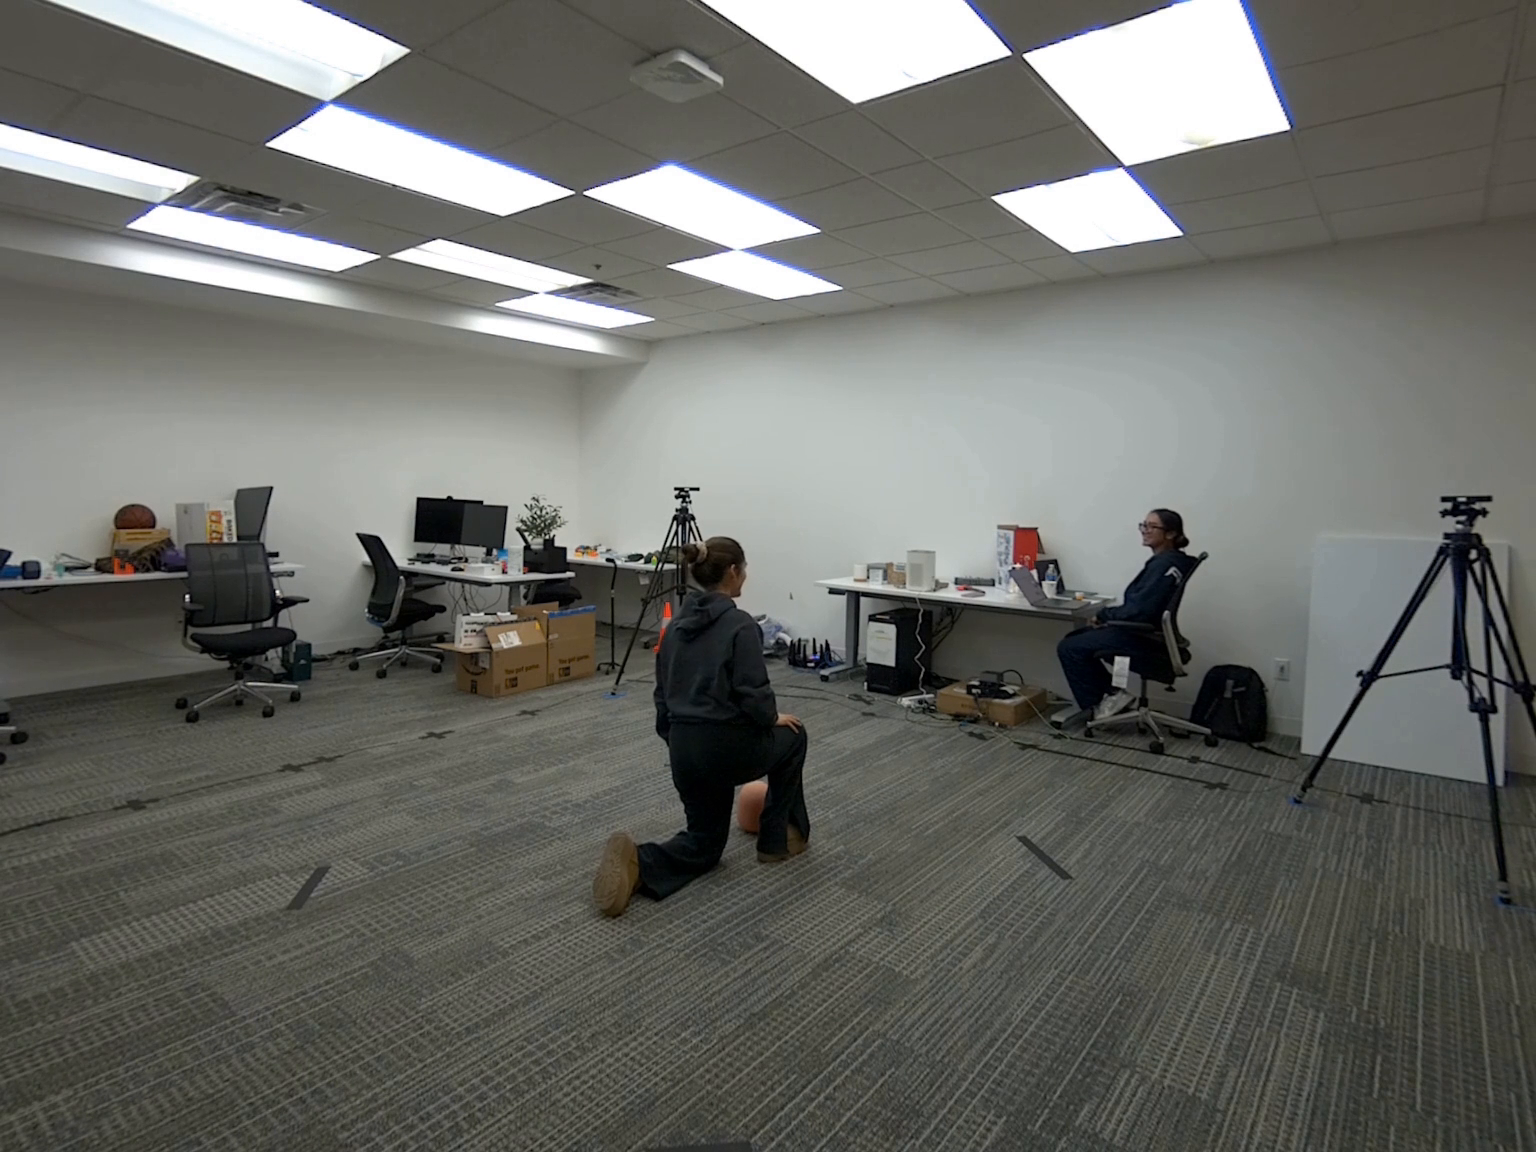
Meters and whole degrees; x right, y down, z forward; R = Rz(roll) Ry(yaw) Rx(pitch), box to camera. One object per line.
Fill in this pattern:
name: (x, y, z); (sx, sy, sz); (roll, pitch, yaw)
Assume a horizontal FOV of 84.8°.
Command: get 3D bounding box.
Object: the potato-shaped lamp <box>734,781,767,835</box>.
potato-shaped lamp: (-0.048, 0.934, 3.480); (0.170, 0.197, 0.167); (6, 6, 32)
